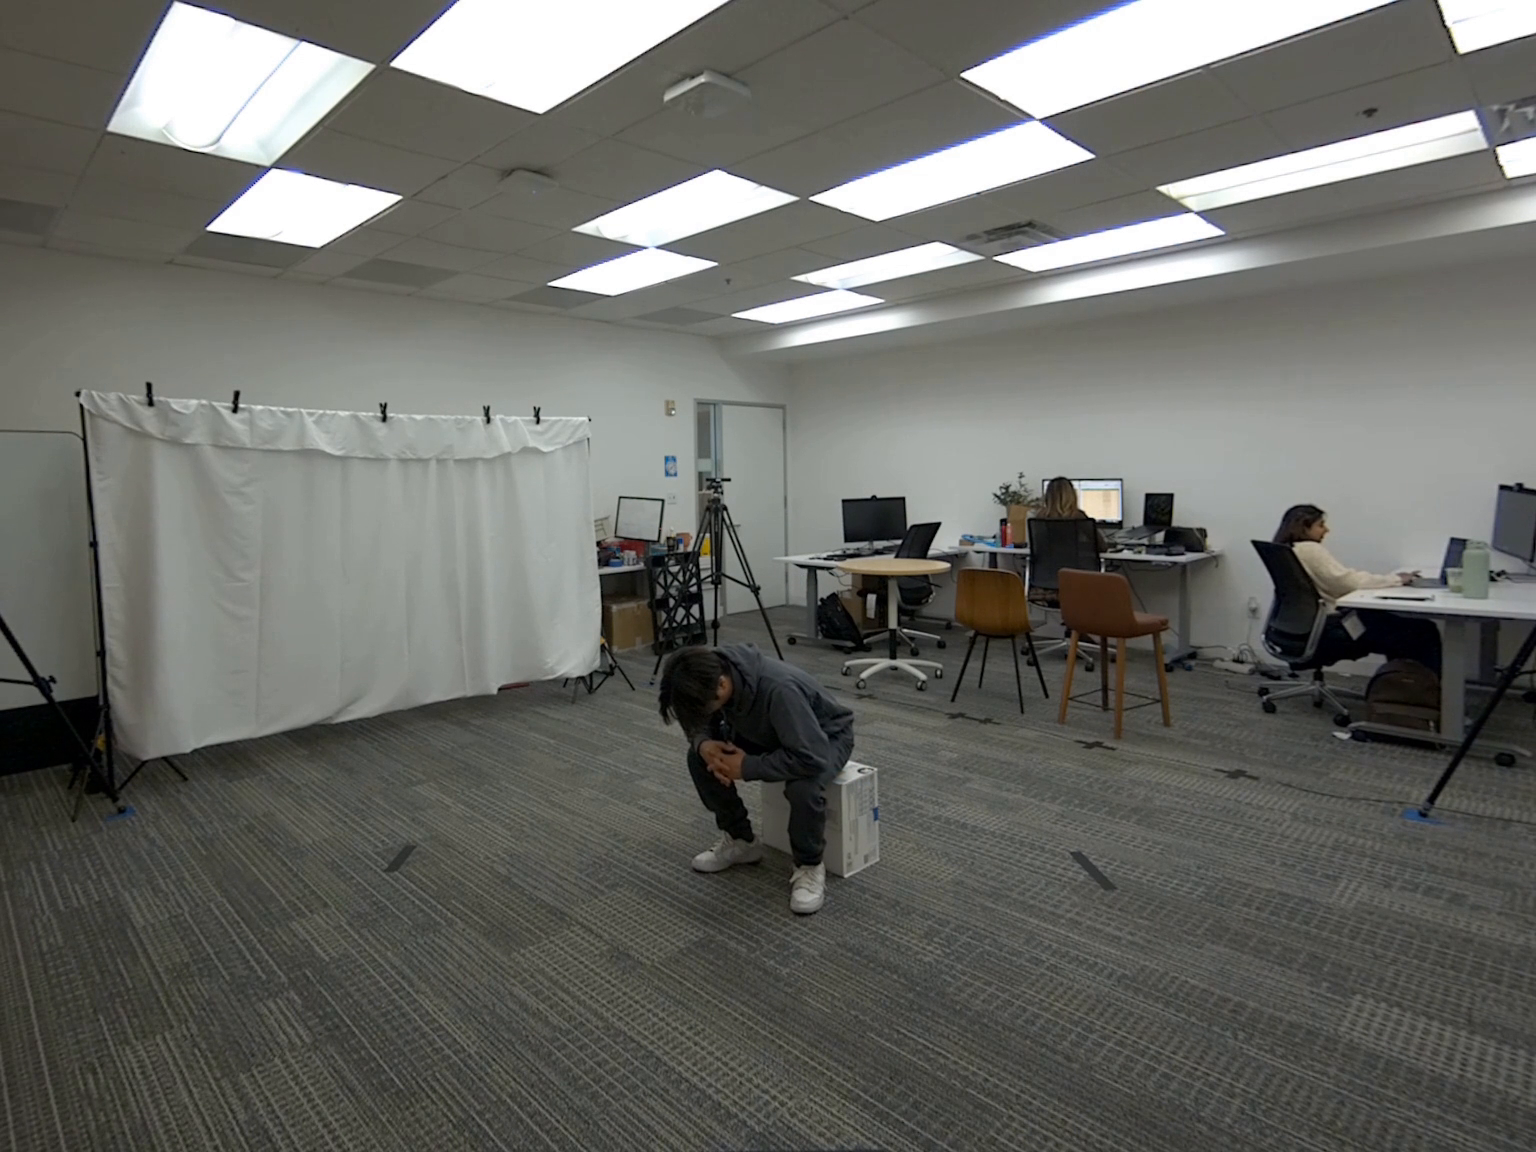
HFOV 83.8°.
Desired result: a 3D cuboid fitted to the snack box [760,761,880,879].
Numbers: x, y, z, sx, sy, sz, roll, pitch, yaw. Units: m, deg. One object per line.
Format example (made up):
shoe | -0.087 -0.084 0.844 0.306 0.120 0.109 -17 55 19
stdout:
snack box | 0.190 0.859 3.178 0.200 0.339 0.418 -7 8 -43
